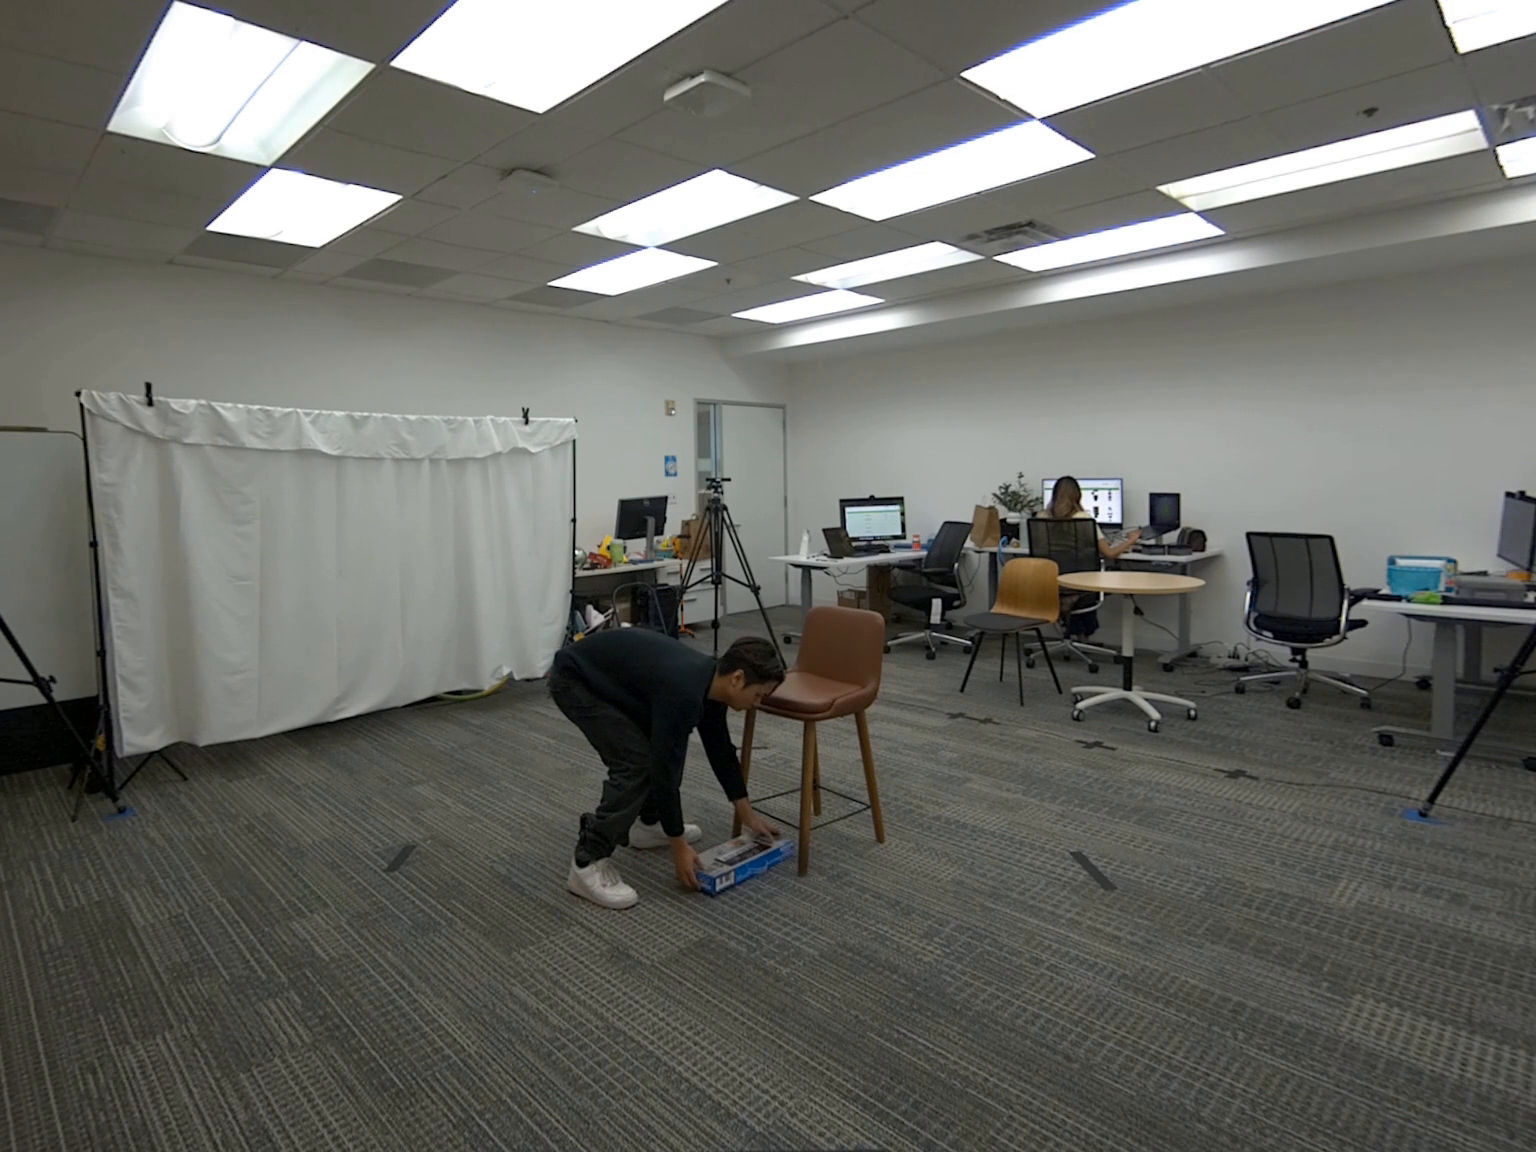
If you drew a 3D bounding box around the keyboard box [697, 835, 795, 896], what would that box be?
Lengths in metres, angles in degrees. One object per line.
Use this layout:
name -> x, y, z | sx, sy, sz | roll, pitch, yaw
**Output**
keyboard box -> -0.108, 1.016, 3.058 | 0.181, 0.059, 0.425 | 4, 7, 41
